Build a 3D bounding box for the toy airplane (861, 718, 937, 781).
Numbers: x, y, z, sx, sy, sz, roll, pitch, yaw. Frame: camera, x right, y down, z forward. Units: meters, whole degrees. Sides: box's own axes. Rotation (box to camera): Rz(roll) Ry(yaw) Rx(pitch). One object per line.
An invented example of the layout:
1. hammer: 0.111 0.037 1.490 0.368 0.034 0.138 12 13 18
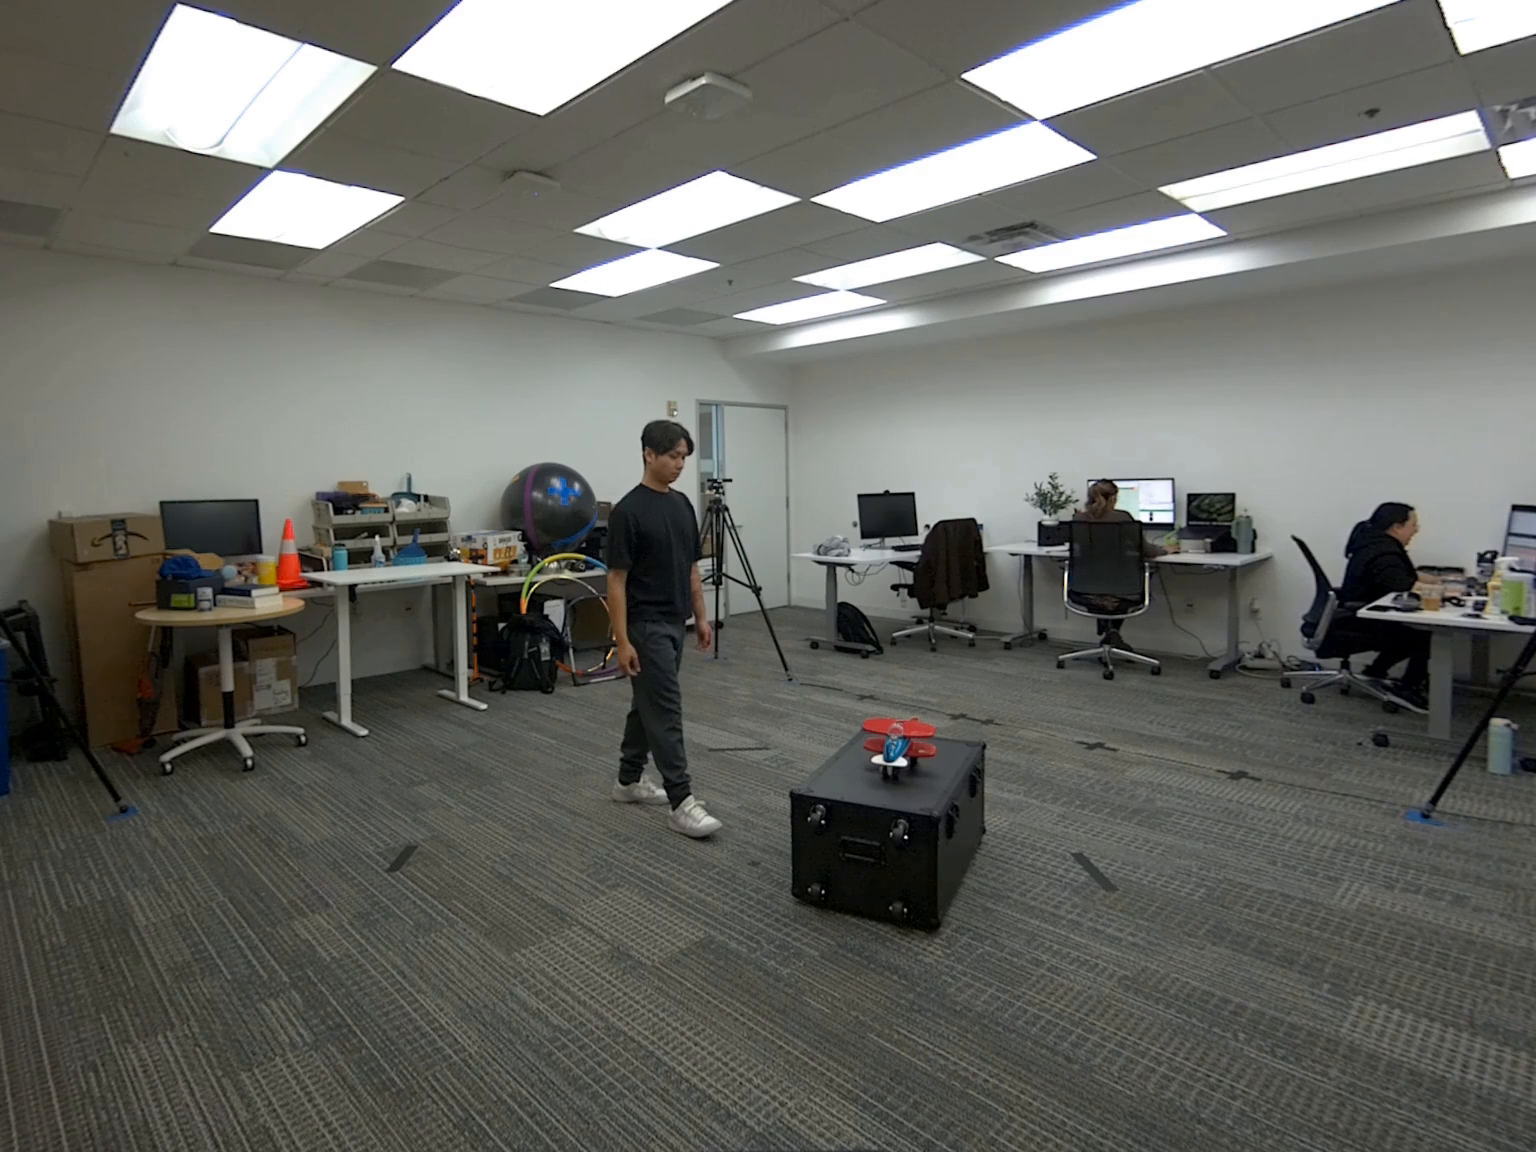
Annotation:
1. toy airplane: 0.471 0.597 2.987 0.250 0.156 0.261 -2 5 -5
